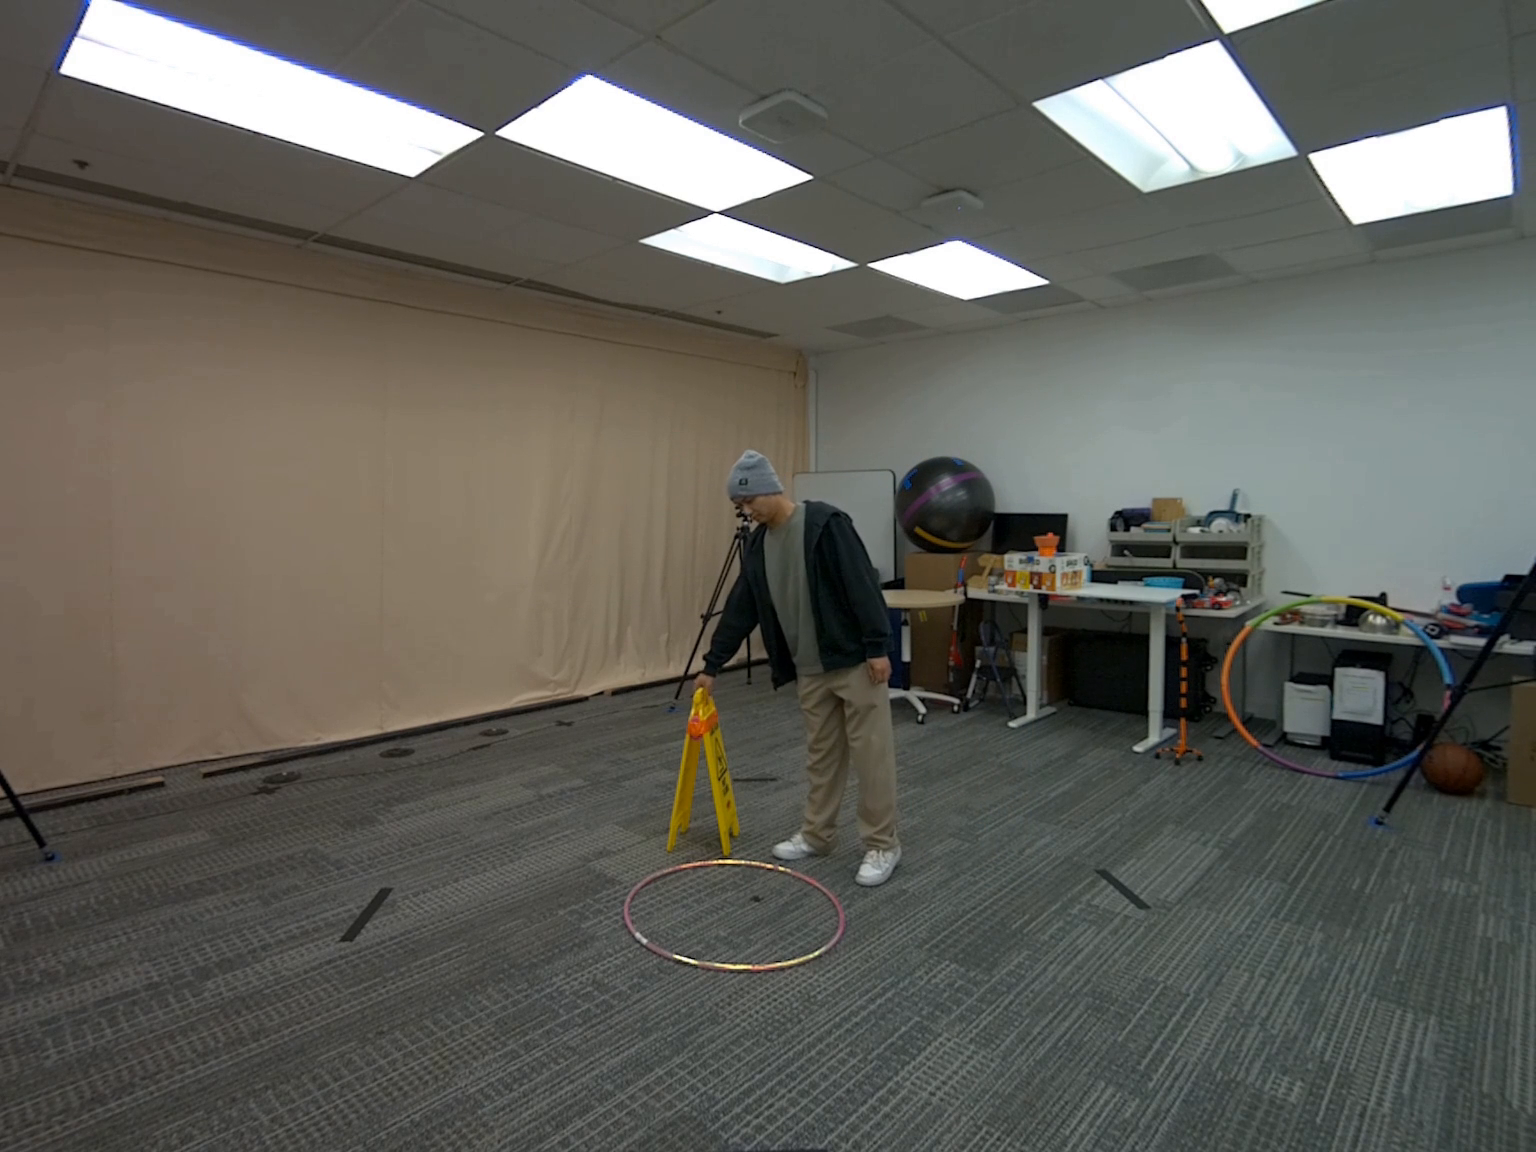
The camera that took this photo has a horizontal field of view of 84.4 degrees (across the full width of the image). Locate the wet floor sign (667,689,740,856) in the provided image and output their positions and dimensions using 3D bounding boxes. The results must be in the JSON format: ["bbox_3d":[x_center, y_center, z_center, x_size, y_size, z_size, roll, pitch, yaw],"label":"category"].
[{"bbox_3d":[-0.262,0.783,3.482,0.293,0.645,0.279,0,3,10],"label":"wet floor sign"}]
